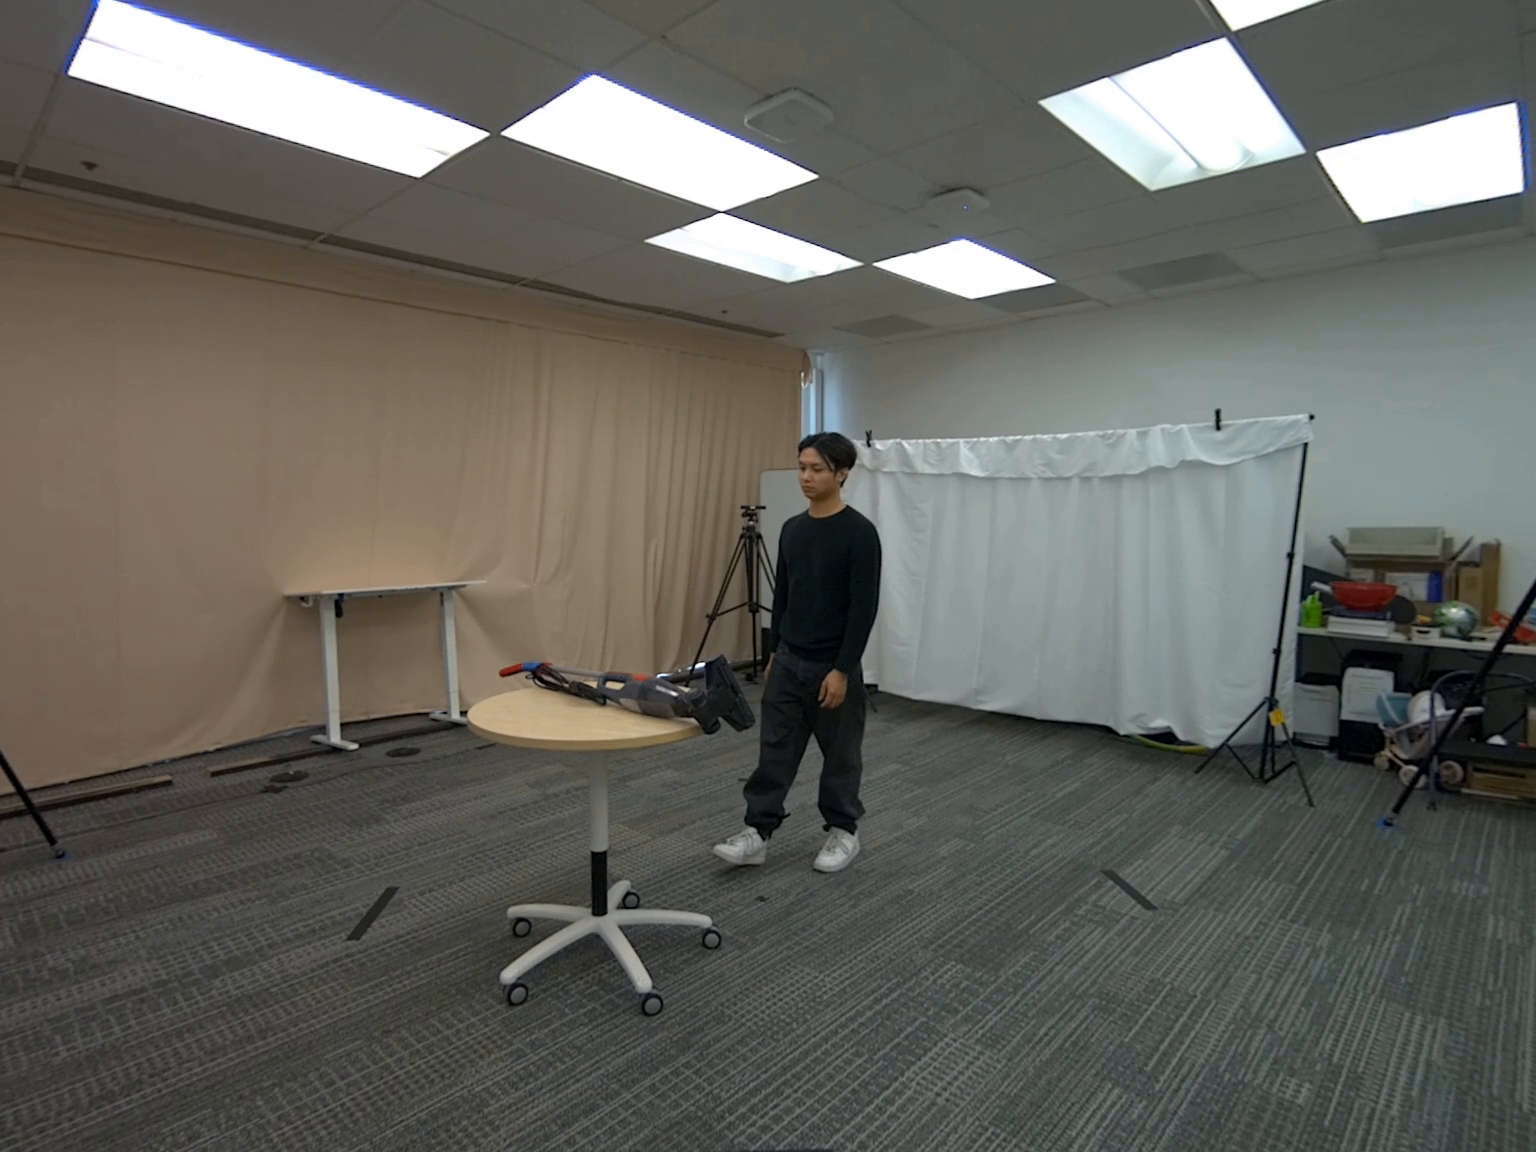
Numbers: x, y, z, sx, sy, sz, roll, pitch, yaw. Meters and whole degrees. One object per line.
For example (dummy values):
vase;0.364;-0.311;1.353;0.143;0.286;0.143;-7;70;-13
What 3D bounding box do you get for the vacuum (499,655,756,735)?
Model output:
vacuum;-0.532;0.352;2.651;1.083;0.246;0.143;0;36;40
